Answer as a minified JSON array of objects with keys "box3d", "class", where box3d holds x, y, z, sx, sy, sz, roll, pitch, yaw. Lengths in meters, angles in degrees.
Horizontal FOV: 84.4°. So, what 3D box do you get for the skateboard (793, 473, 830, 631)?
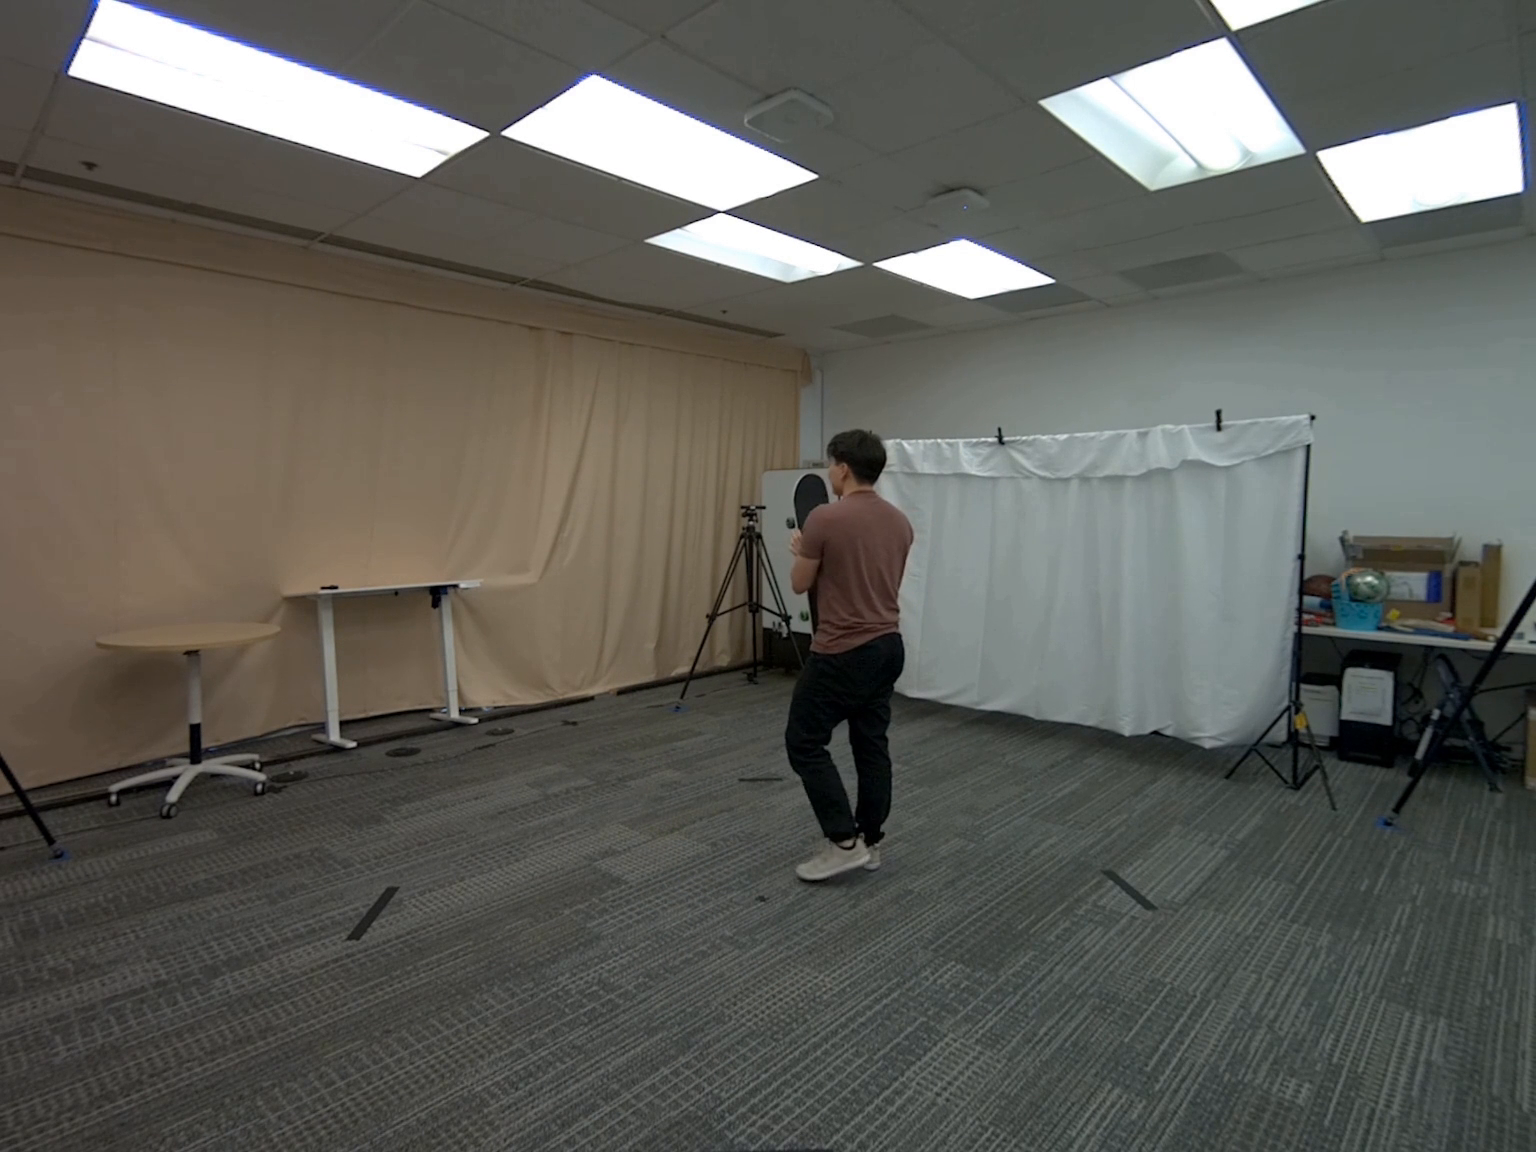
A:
[{"box3d":[0.210,-0.041,3.602,0.188,0.786,0.113,-6,-1,-33],"class":"skateboard"}]
